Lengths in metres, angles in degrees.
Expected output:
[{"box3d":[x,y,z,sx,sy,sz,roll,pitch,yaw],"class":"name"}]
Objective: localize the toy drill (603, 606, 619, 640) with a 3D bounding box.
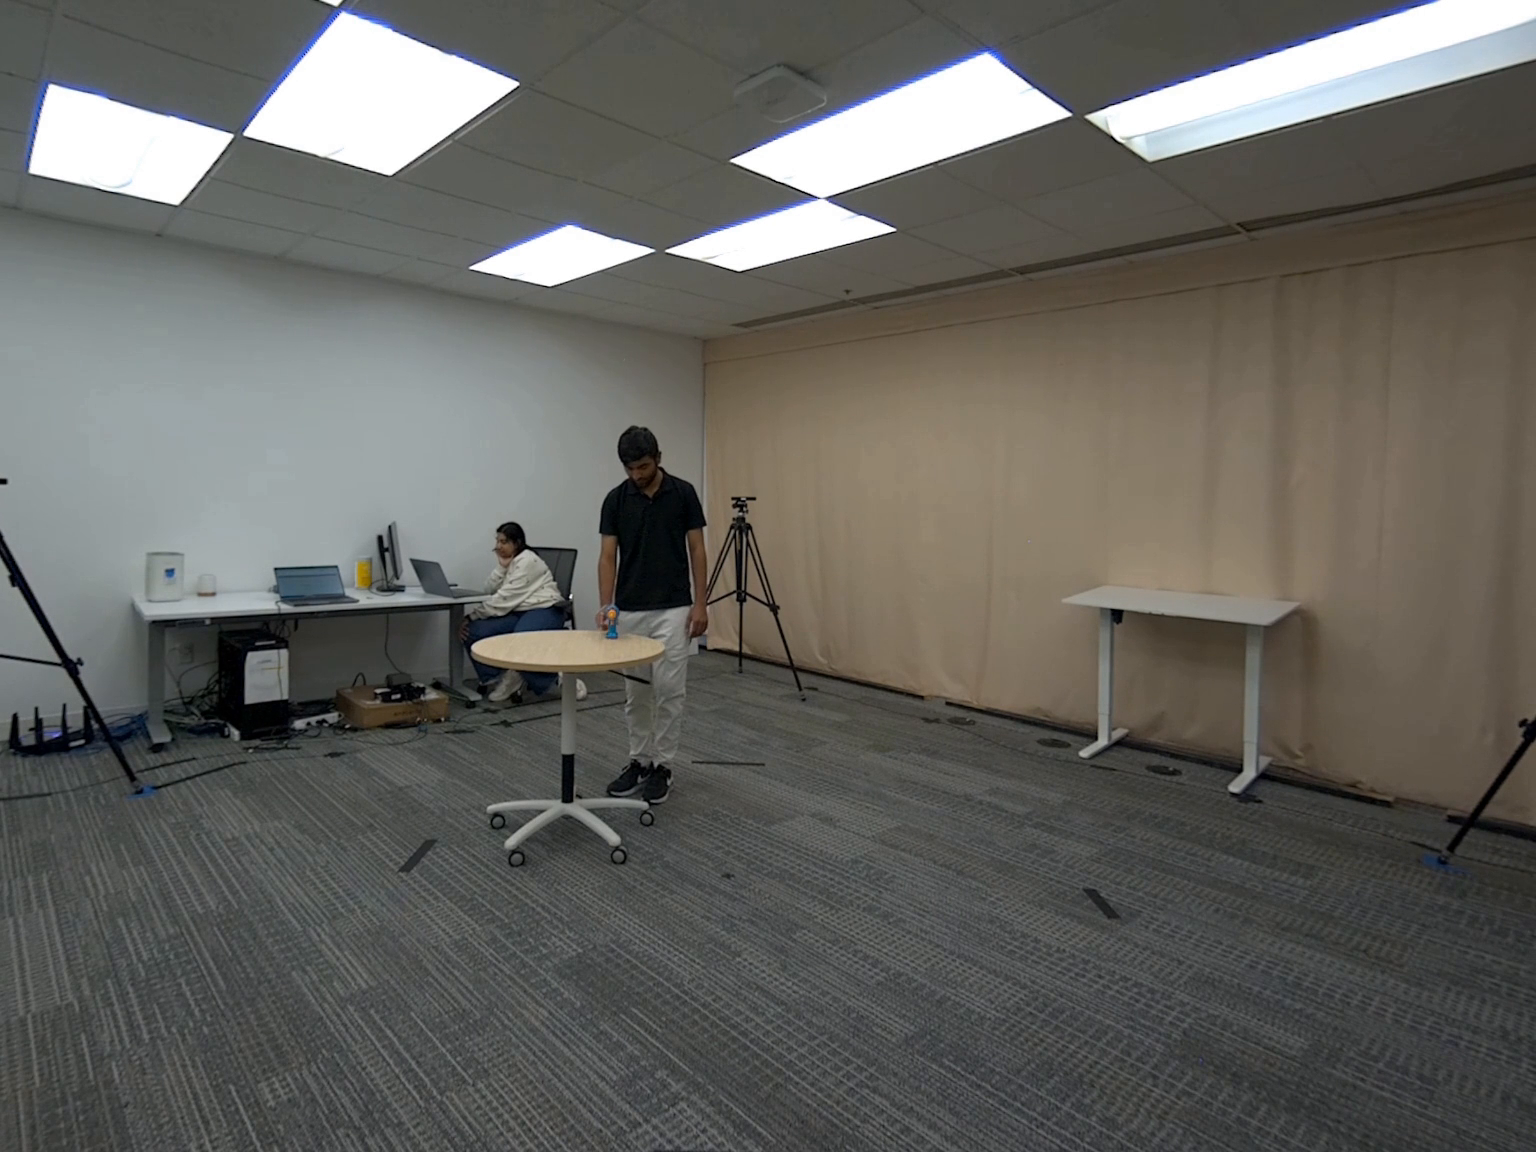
[{"box3d":[-0.677,0.196,3.574,0.061,0.146,0.171,5,4,-9],"class":"toy drill"}]
